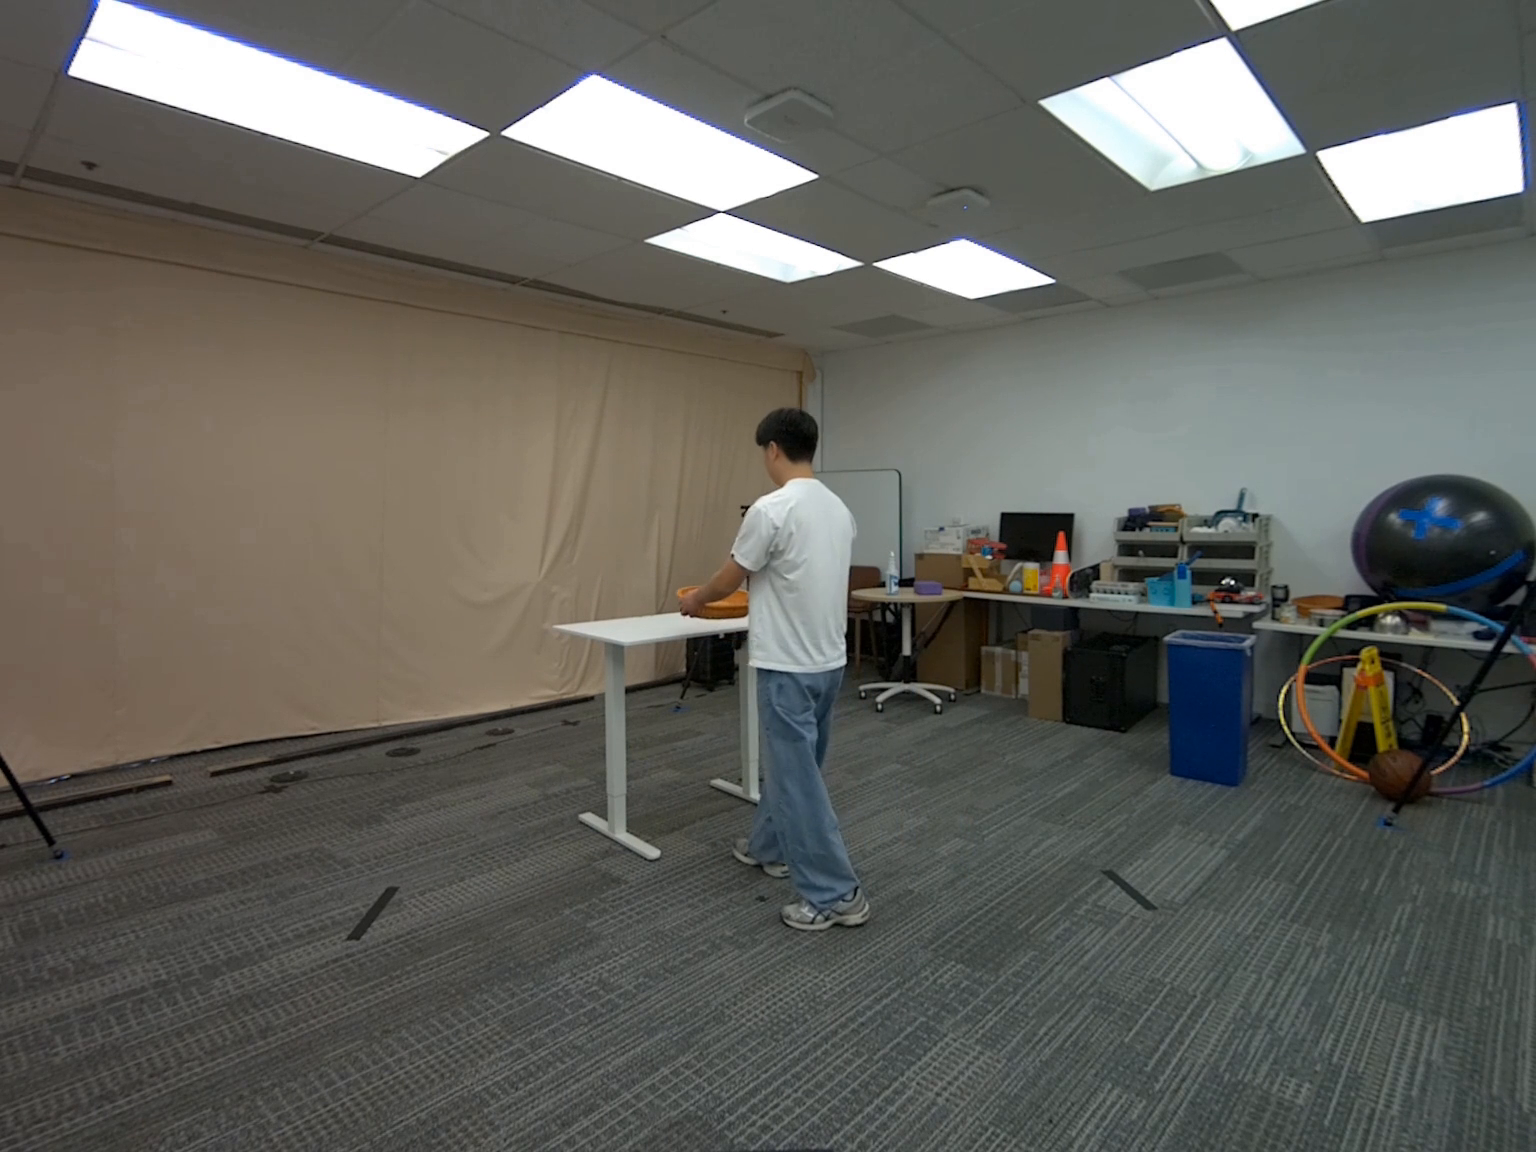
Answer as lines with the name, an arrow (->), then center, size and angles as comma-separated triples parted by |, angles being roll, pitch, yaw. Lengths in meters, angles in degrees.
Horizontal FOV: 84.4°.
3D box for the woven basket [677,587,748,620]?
woven basket -> -0.189, 0.122, 3.296 | 0.340, 0.073, 0.261 | -2, 13, -37
